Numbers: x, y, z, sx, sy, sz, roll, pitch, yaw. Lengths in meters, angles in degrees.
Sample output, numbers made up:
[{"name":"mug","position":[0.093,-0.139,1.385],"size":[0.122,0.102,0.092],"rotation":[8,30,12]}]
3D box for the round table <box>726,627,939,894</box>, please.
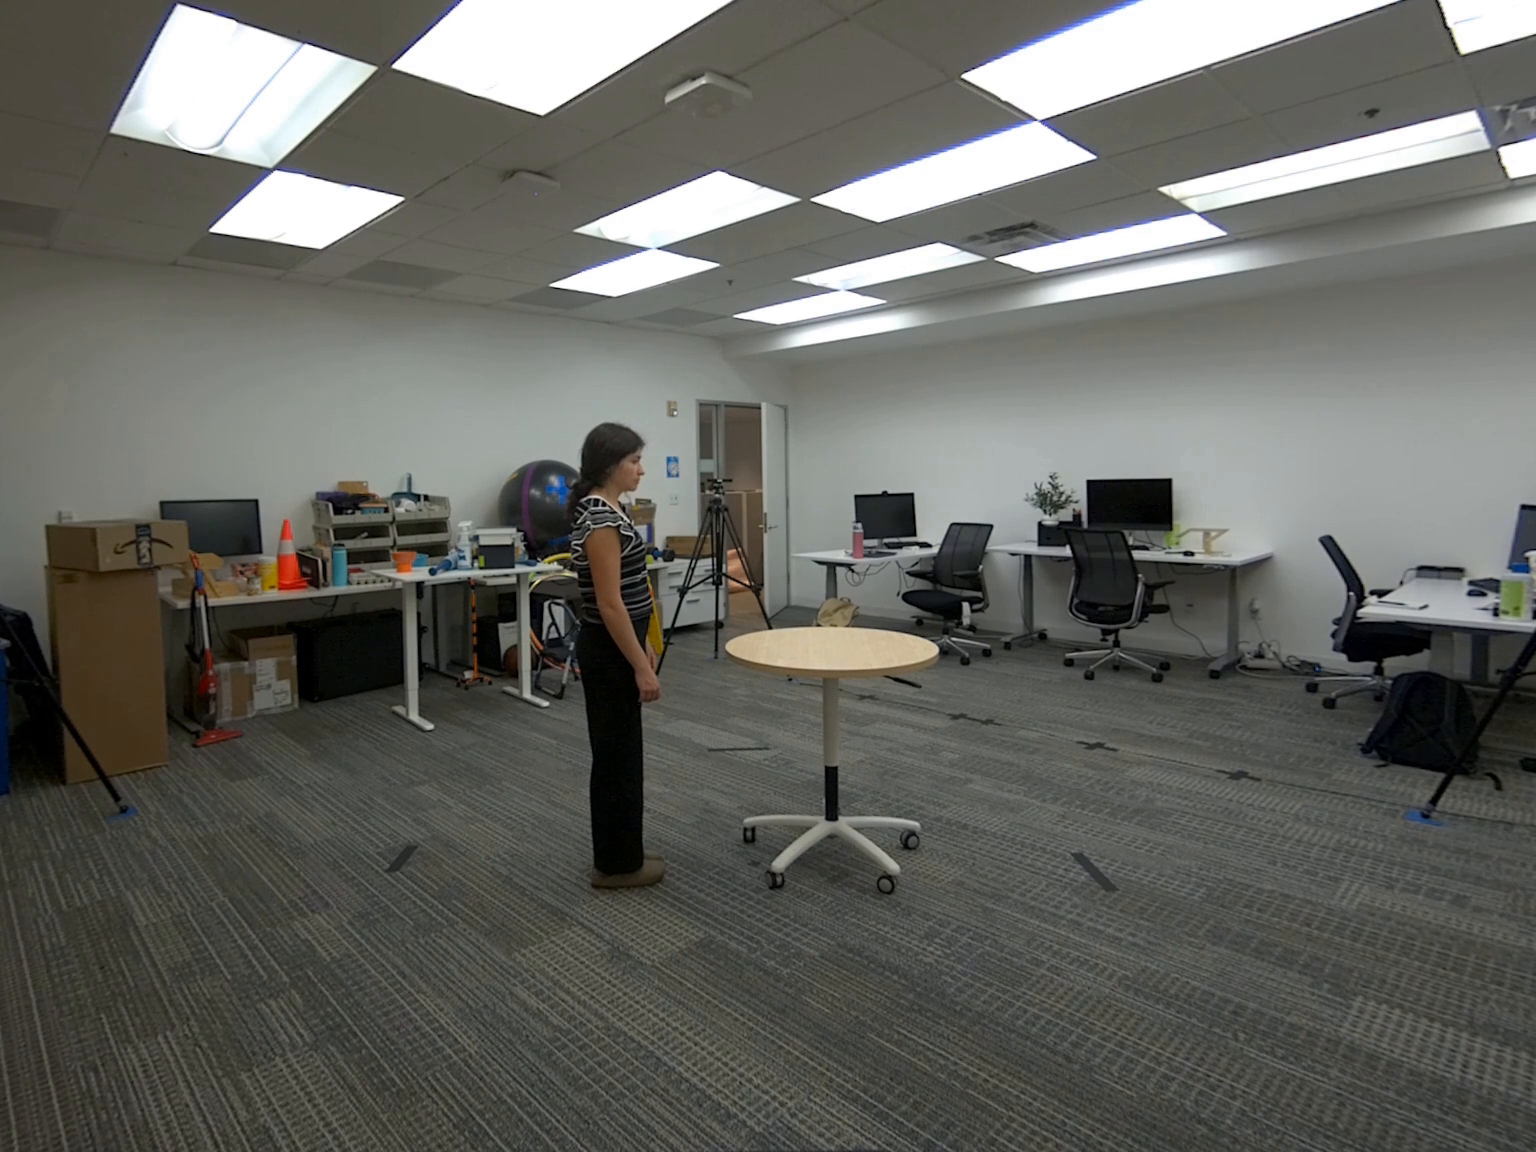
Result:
[{"name":"round table","position":[0.215,0.638,3.142],"size":[0.784,0.783,0.789],"rotation":[-1,5,-2]}]
